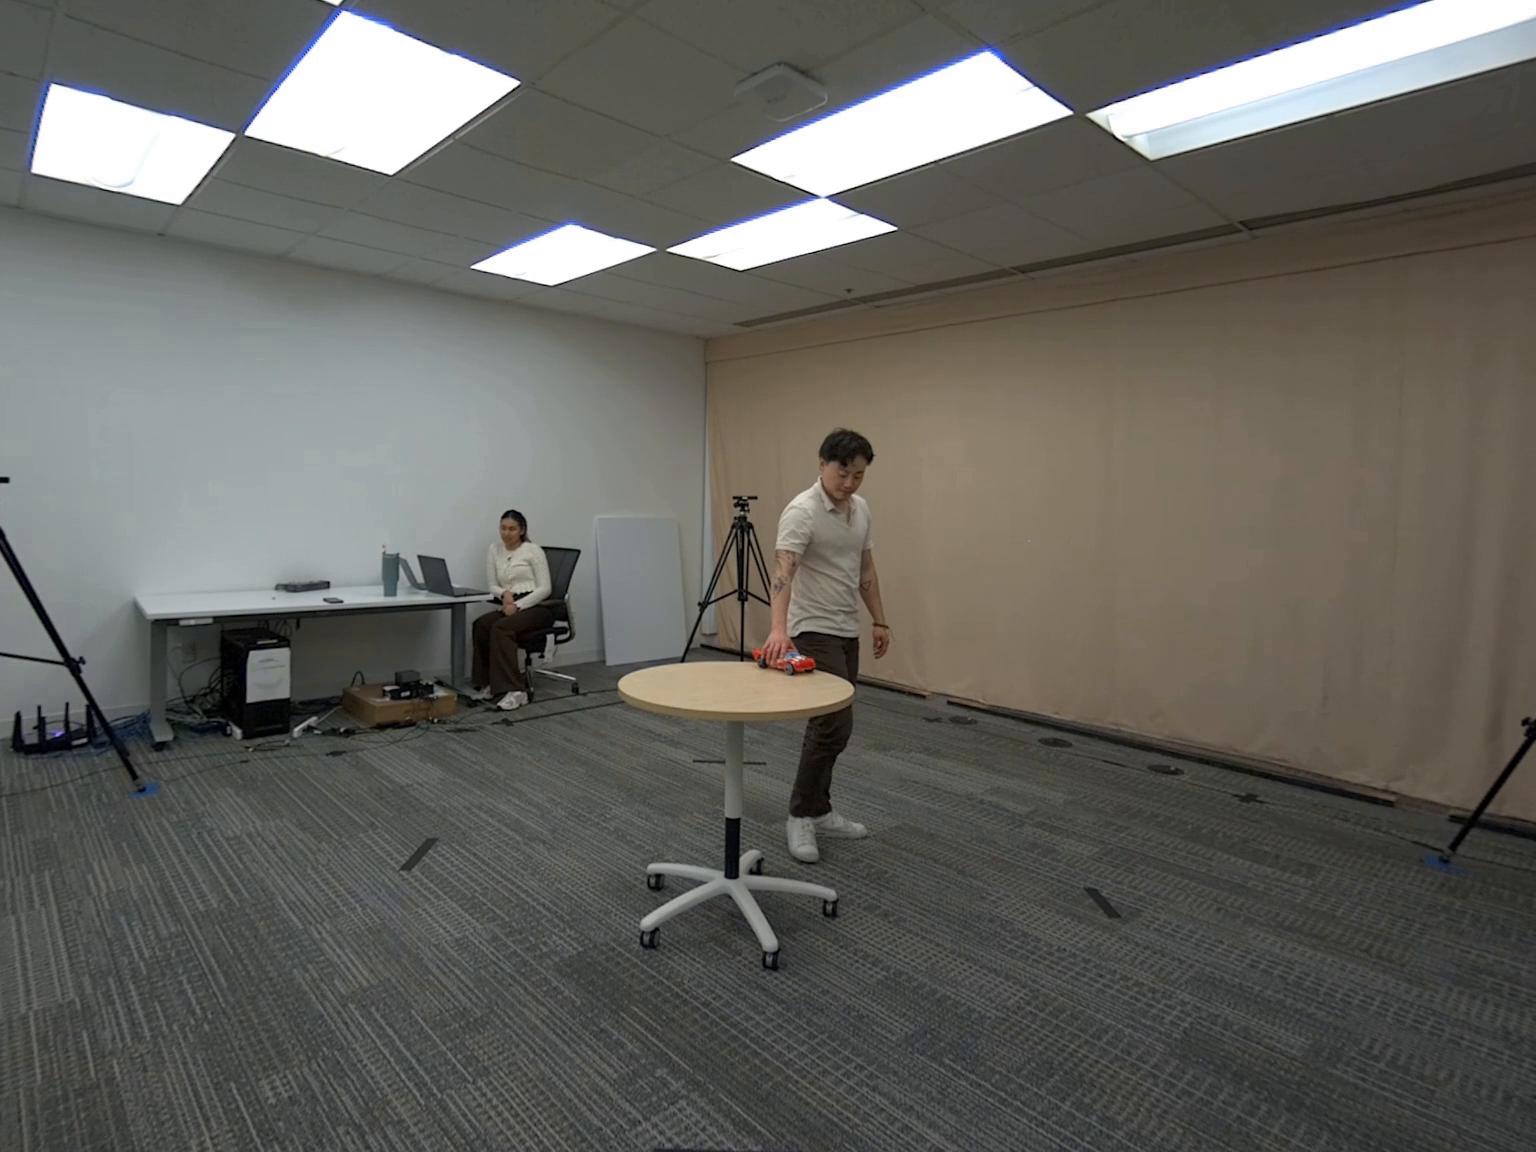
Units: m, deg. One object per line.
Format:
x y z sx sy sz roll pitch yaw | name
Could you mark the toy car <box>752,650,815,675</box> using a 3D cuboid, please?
0.043 0.306 3.004 0.127 0.082 0.262 -3 17 -39 | toy car
